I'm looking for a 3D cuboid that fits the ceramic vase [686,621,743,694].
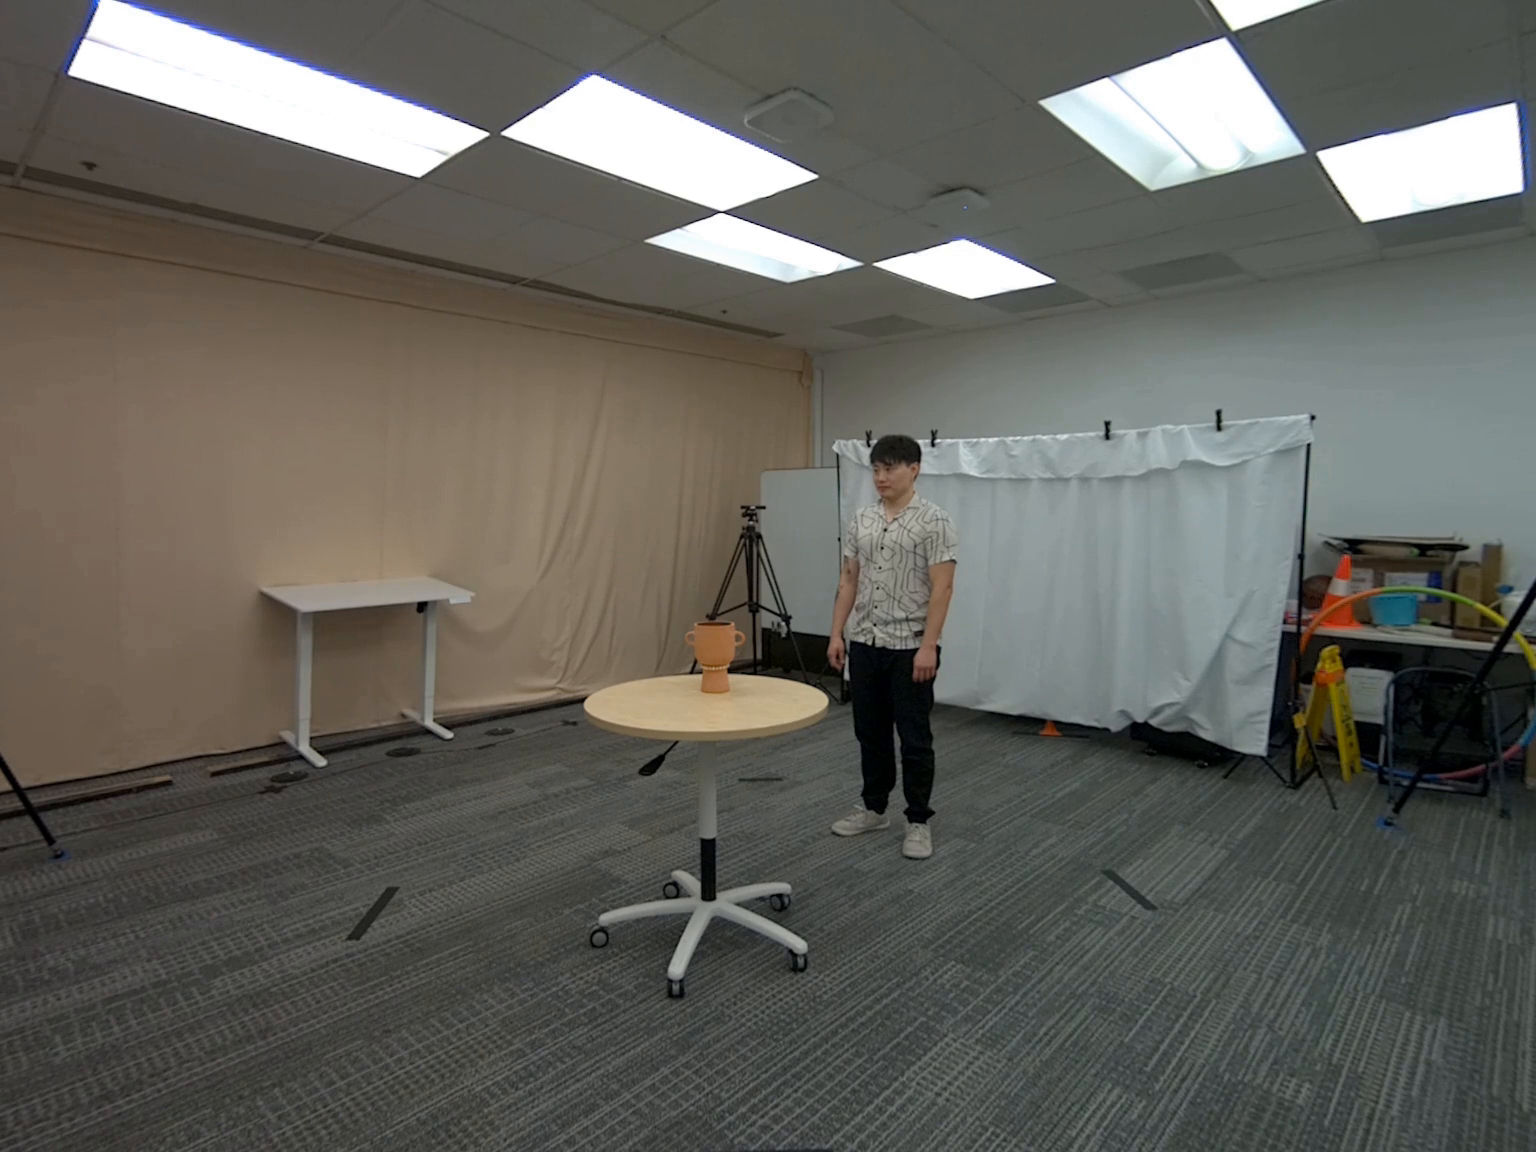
[{"bbox_3d":[-0.172,0.269,2.770,0.164,0.219,0.130,3,5,42],"label":"ceramic vase"}]
